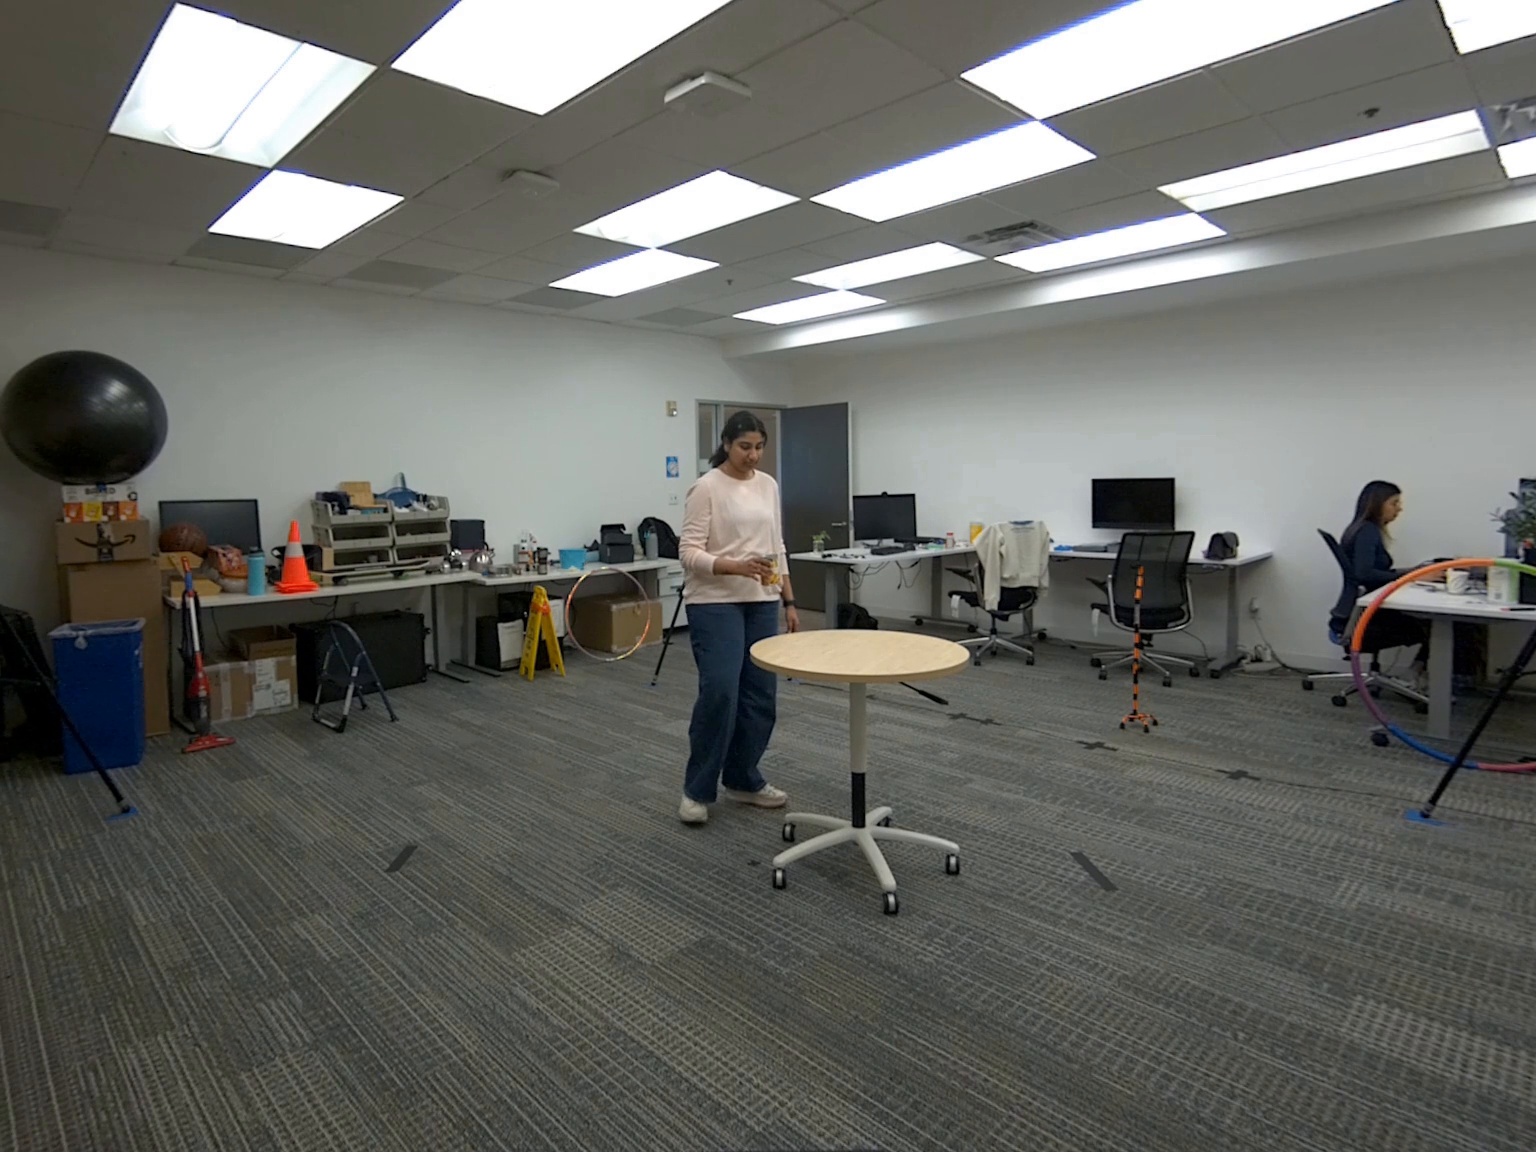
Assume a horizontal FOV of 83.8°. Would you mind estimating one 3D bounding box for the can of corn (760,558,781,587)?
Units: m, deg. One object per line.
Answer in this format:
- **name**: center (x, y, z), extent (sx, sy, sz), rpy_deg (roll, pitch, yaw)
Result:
- **can of corn**: center (0.008, -0.021, 3.316), extent (0.074, 0.110, 0.075), rpy_deg (-4, 7, -1)
